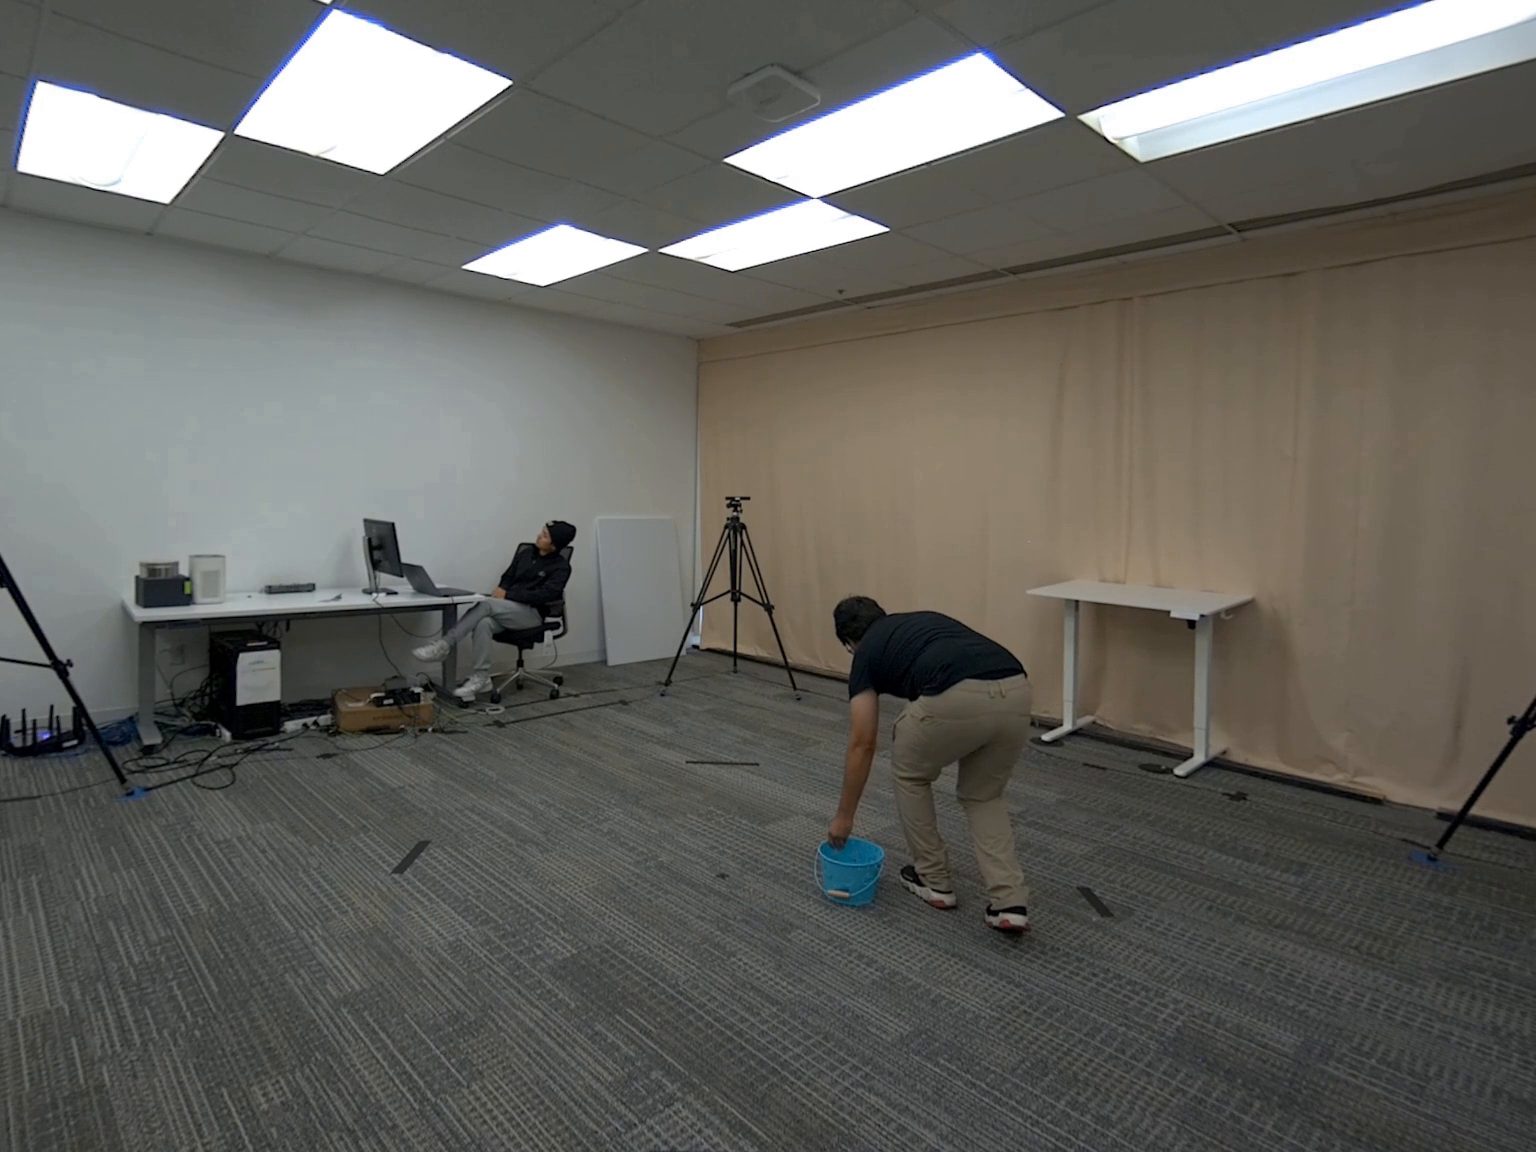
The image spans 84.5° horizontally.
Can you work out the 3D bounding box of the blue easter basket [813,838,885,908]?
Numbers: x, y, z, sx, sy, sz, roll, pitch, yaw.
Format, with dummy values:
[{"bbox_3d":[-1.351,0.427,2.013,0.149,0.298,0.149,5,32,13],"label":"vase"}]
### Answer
[{"bbox_3d":[0.285,1.046,2.988,0.243,0.155,0.244,2,4,-2],"label":"blue easter basket"}]
